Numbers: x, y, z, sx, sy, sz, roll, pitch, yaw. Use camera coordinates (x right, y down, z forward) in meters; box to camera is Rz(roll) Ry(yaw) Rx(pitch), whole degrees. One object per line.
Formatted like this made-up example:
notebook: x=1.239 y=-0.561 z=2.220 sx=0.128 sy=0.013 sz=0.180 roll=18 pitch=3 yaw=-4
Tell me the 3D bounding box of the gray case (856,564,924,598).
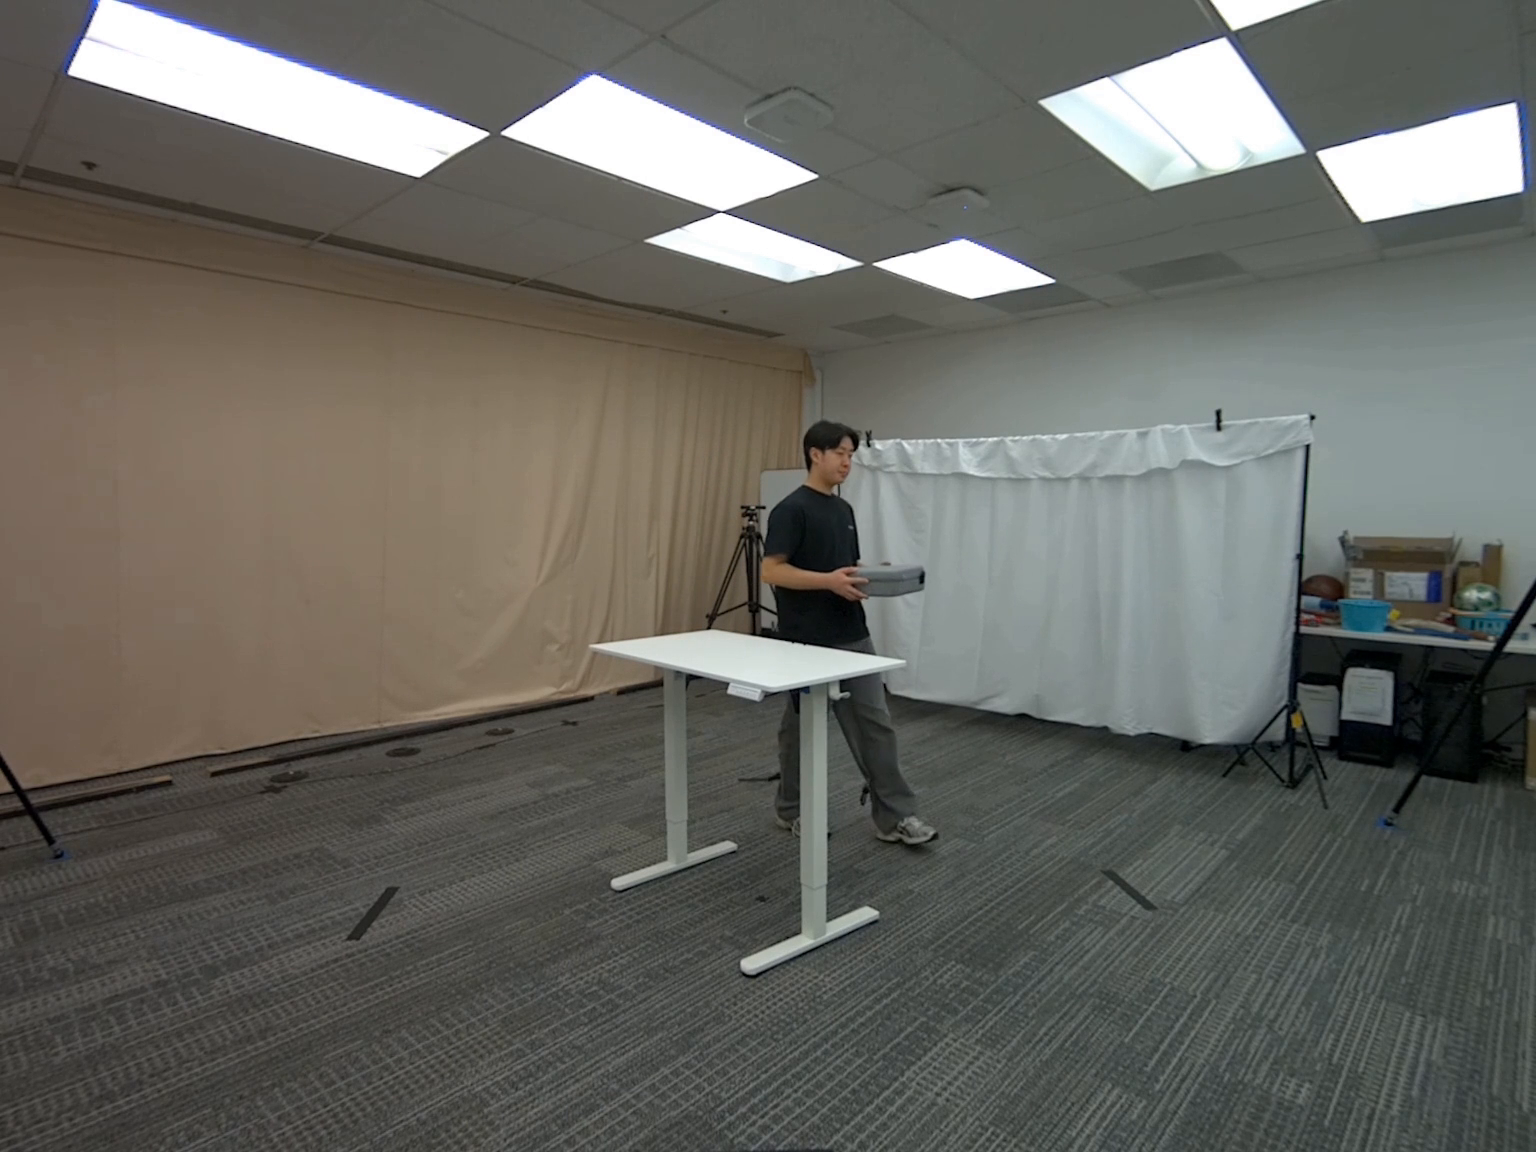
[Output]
gray case: x=0.419 y=0.018 z=3.324 sx=0.292 sy=0.103 sz=0.259 roll=-2 pitch=6 yaw=17
